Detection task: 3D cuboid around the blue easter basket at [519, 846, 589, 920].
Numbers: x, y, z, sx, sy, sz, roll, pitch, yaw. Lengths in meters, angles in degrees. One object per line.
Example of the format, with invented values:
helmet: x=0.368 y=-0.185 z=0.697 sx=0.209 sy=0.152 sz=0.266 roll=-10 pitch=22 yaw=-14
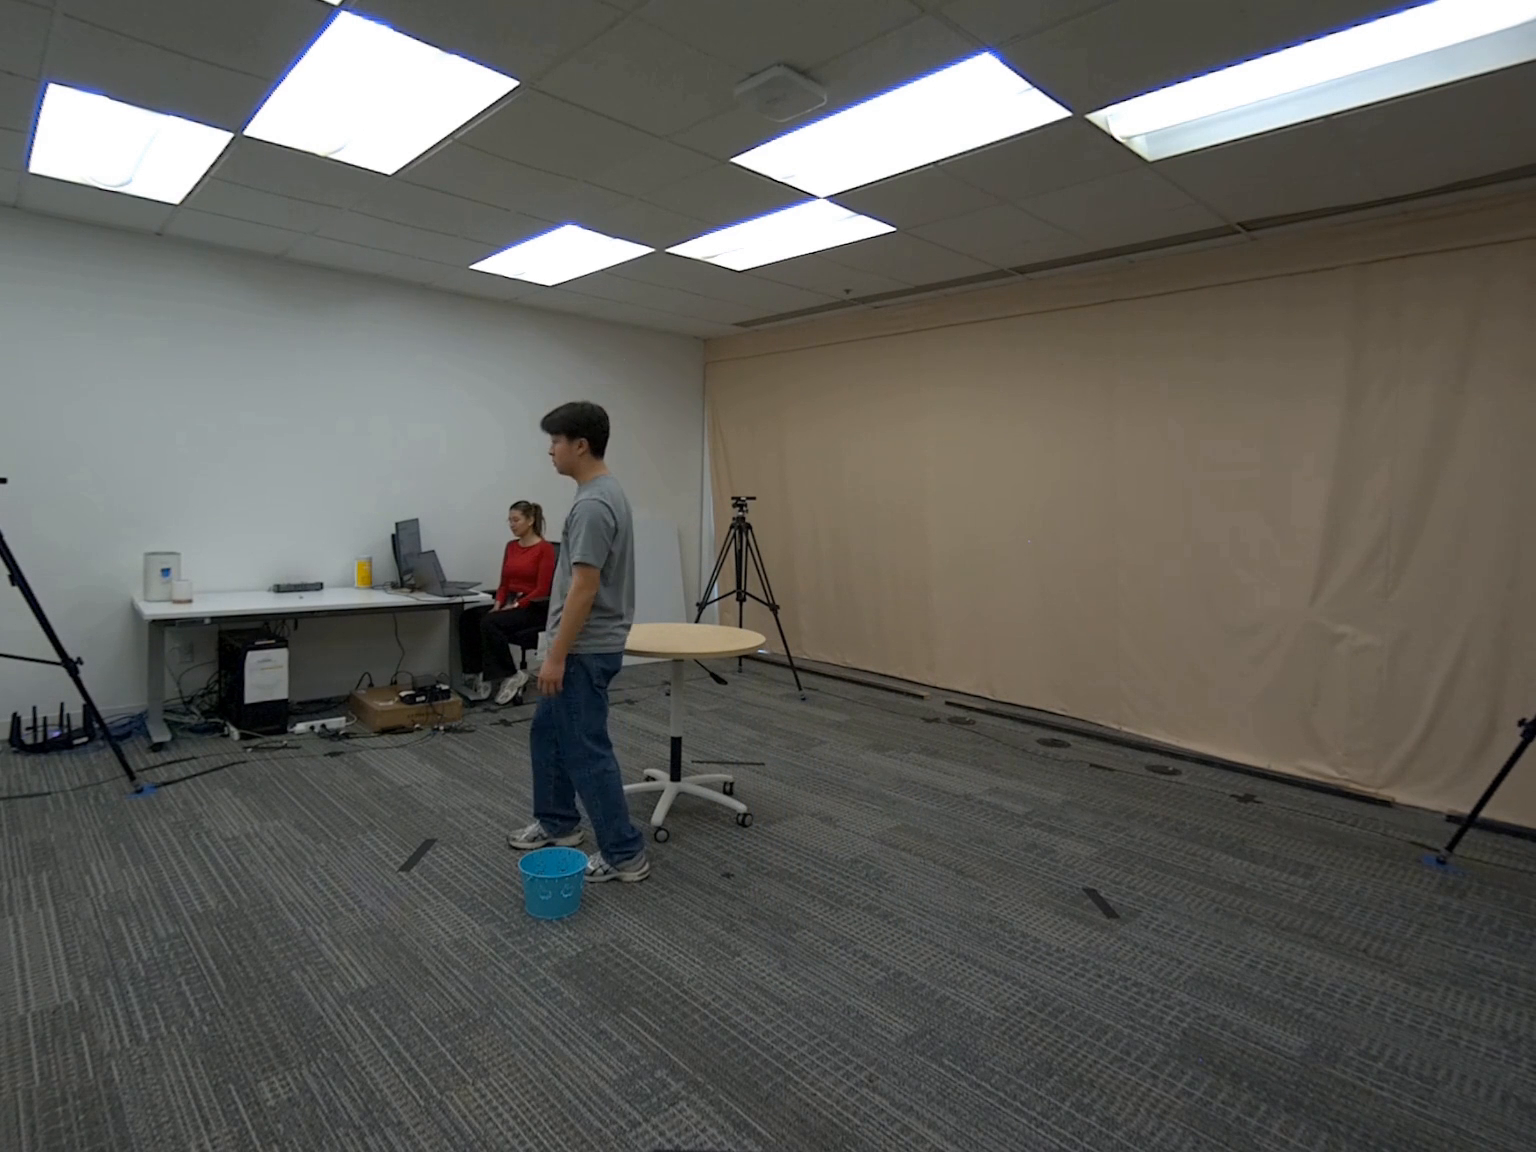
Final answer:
blue easter basket: x=-0.733 y=1.037 z=2.851 sx=0.243 sy=0.155 sz=0.245 roll=1 pitch=6 yaw=-1
